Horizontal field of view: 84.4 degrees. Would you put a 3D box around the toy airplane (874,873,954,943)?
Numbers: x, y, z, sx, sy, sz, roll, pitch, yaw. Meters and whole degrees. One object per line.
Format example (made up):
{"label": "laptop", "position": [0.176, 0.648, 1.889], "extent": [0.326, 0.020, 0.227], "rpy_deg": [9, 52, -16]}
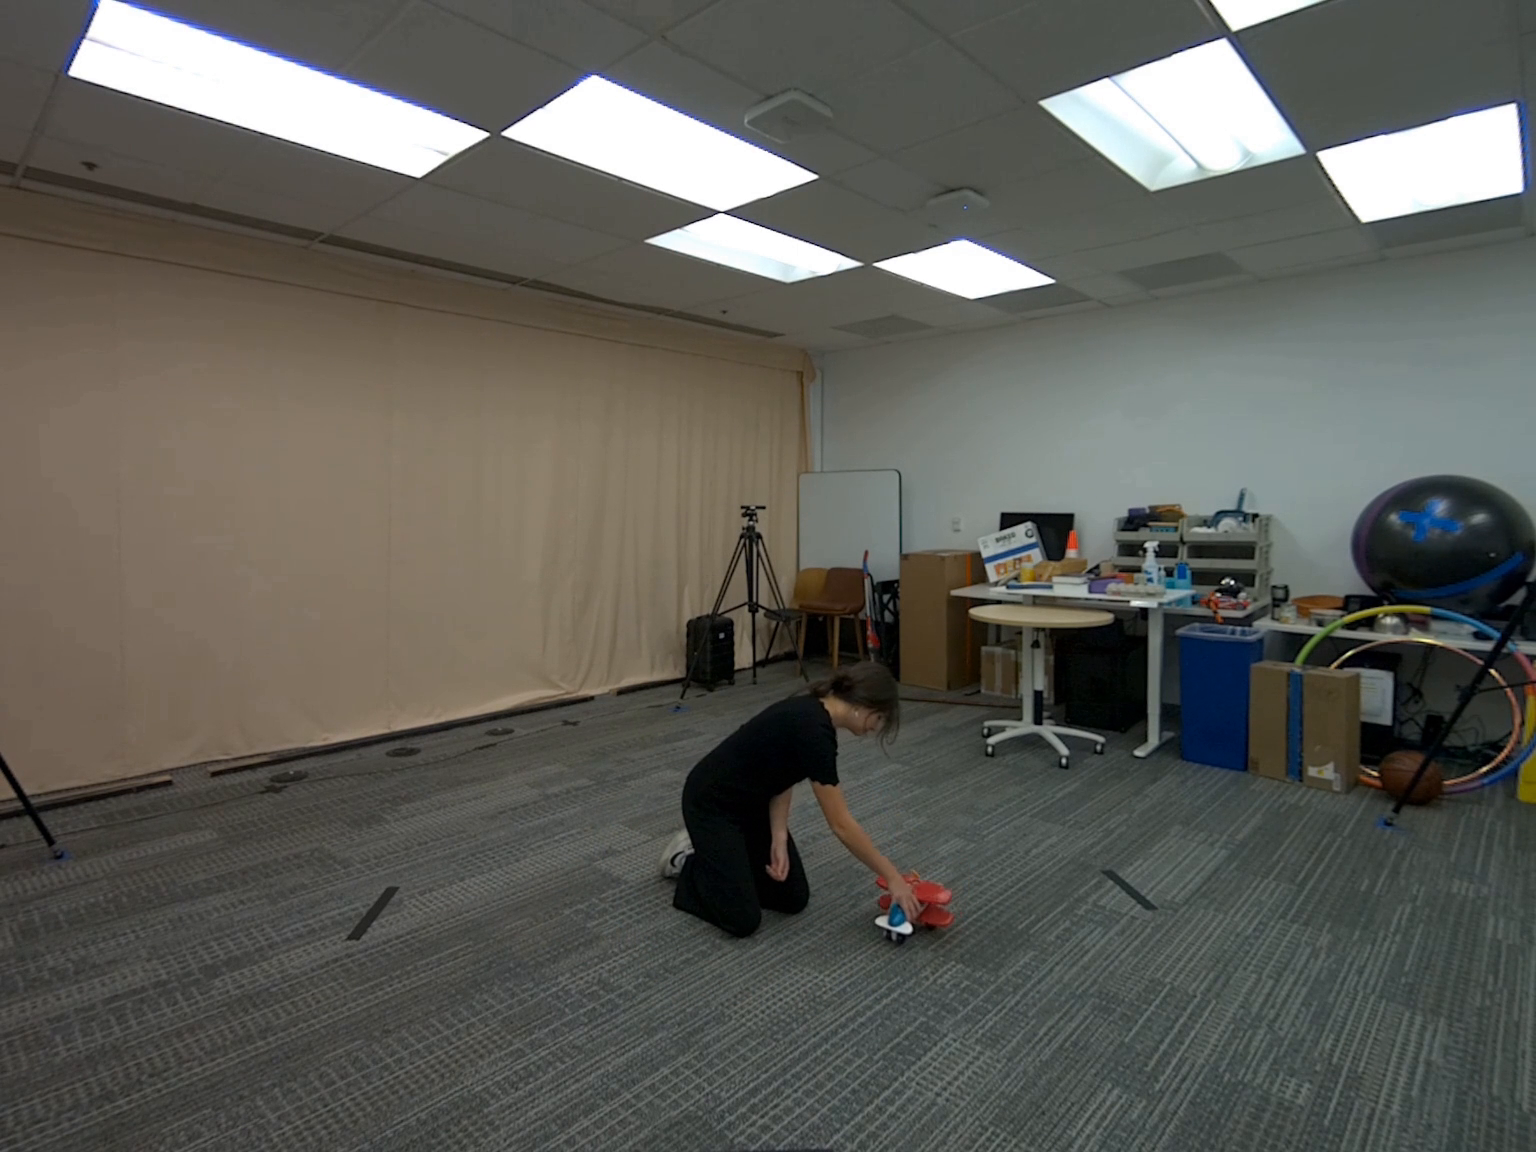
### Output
{"label": "toy airplane", "position": [0.476, 1.086, 2.718], "extent": [0.254, 0.156, 0.256], "rpy_deg": [3, 1, 8]}
